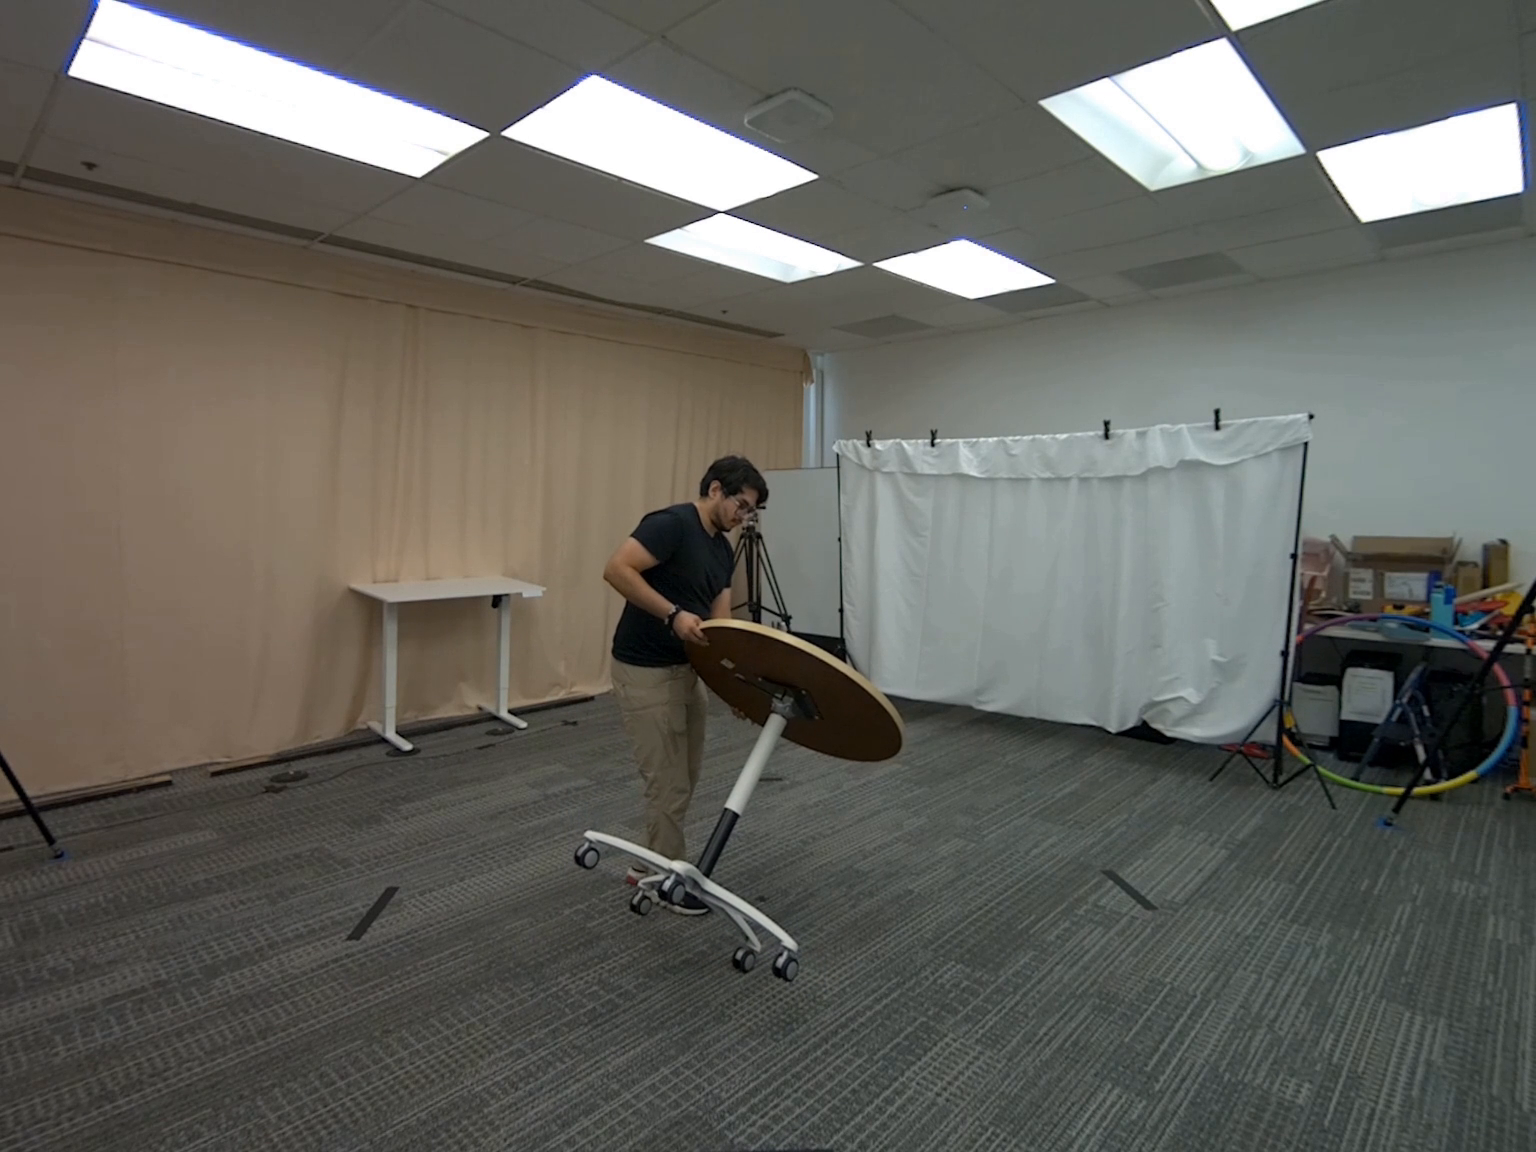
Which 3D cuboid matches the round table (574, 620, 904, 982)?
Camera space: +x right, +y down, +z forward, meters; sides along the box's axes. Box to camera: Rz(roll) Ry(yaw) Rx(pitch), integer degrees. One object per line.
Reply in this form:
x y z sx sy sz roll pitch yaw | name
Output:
-0.087 0.671 2.539 0.798 0.786 0.773 23 -29 12 | round table
